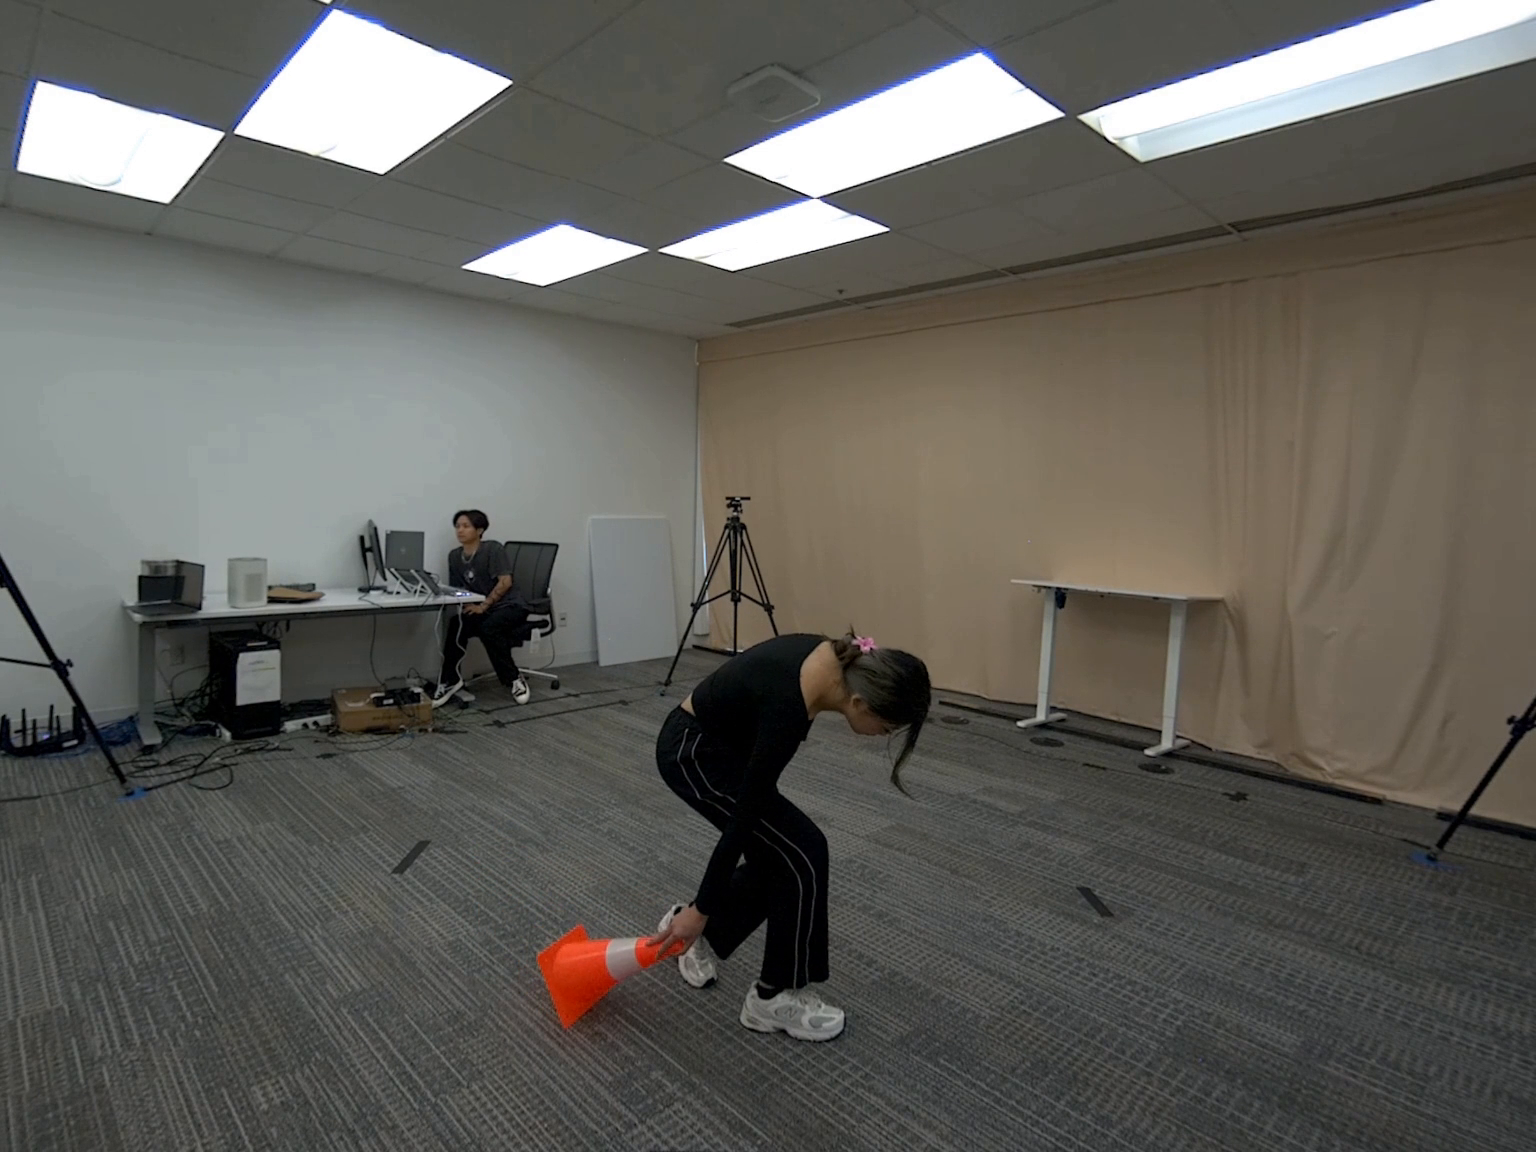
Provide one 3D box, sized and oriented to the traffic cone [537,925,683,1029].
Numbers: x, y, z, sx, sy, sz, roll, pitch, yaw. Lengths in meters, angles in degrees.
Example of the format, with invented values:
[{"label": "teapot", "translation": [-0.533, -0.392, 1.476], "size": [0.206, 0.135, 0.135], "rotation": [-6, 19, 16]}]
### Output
[{"label": "traffic cone", "translation": [-0.379, 1.005, 2.206], "size": [0.386, 0.206, 0.201], "rotation": [-28, -12, 25]}]
